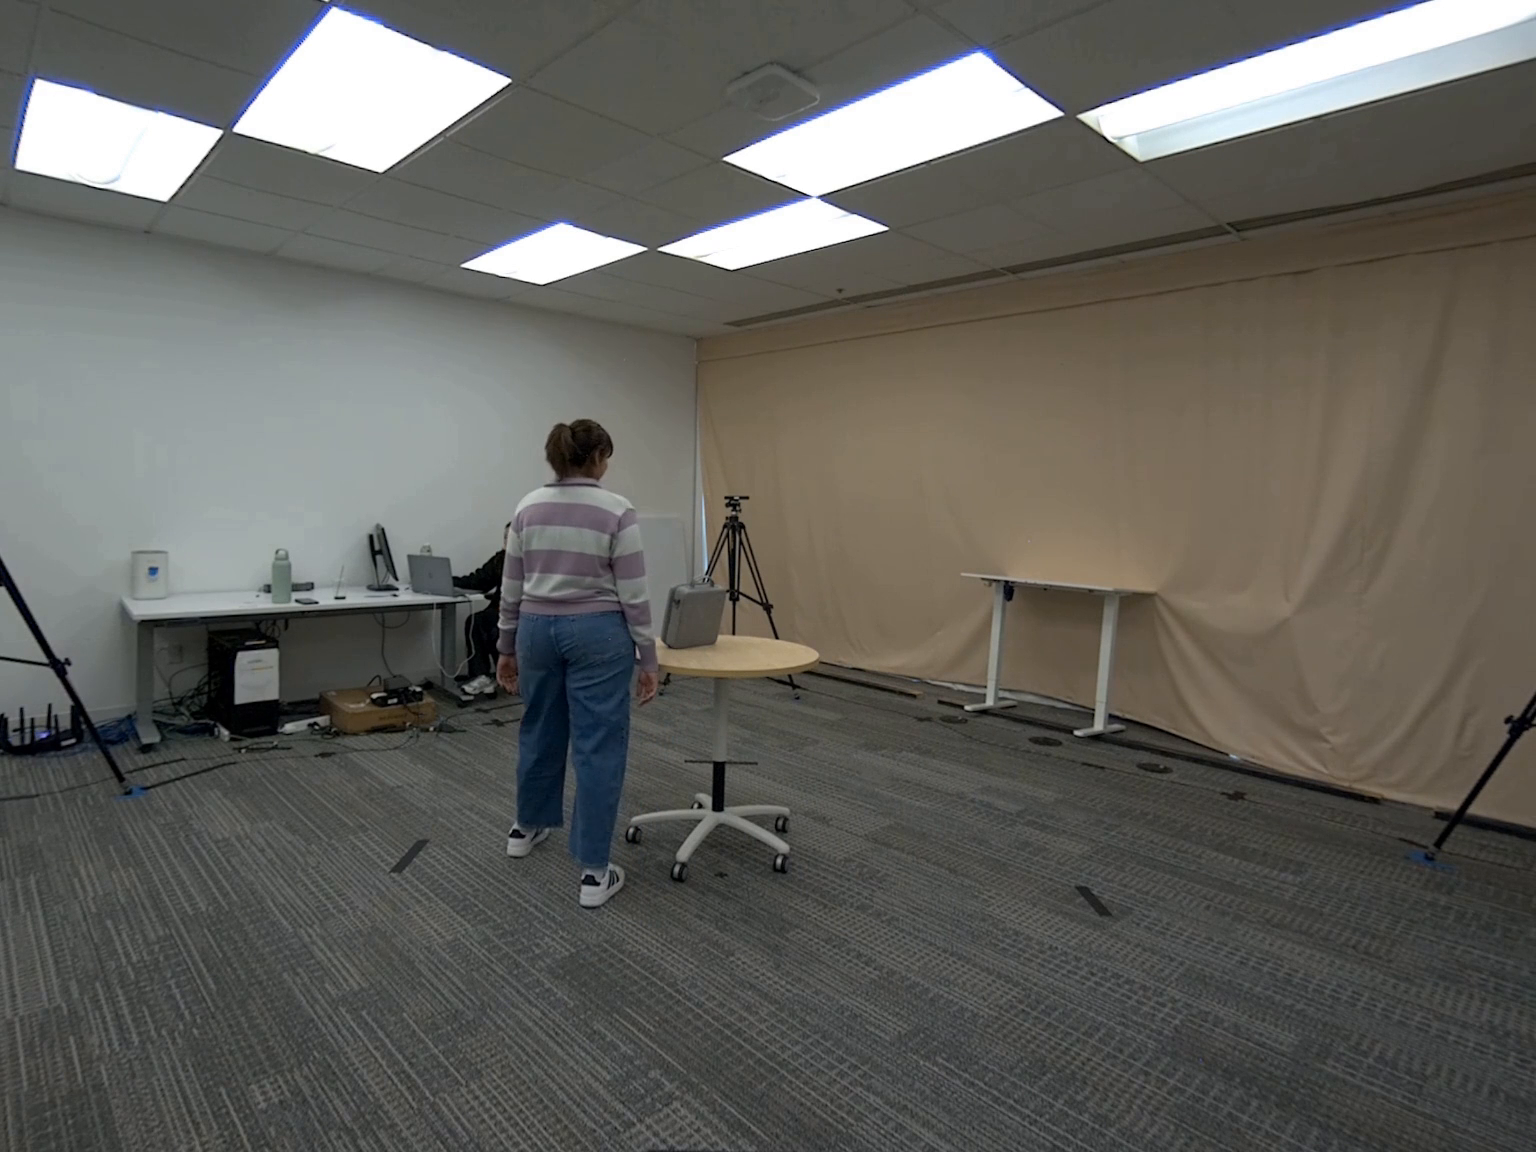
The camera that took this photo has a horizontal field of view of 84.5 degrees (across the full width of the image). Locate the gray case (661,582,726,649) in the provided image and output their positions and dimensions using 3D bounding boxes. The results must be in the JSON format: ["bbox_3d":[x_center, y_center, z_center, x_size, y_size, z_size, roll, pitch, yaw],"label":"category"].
[{"bbox_3d":[-0.305,0.154,3.418,0.107,0.259,0.251,22,17,39],"label":"gray case"}]
